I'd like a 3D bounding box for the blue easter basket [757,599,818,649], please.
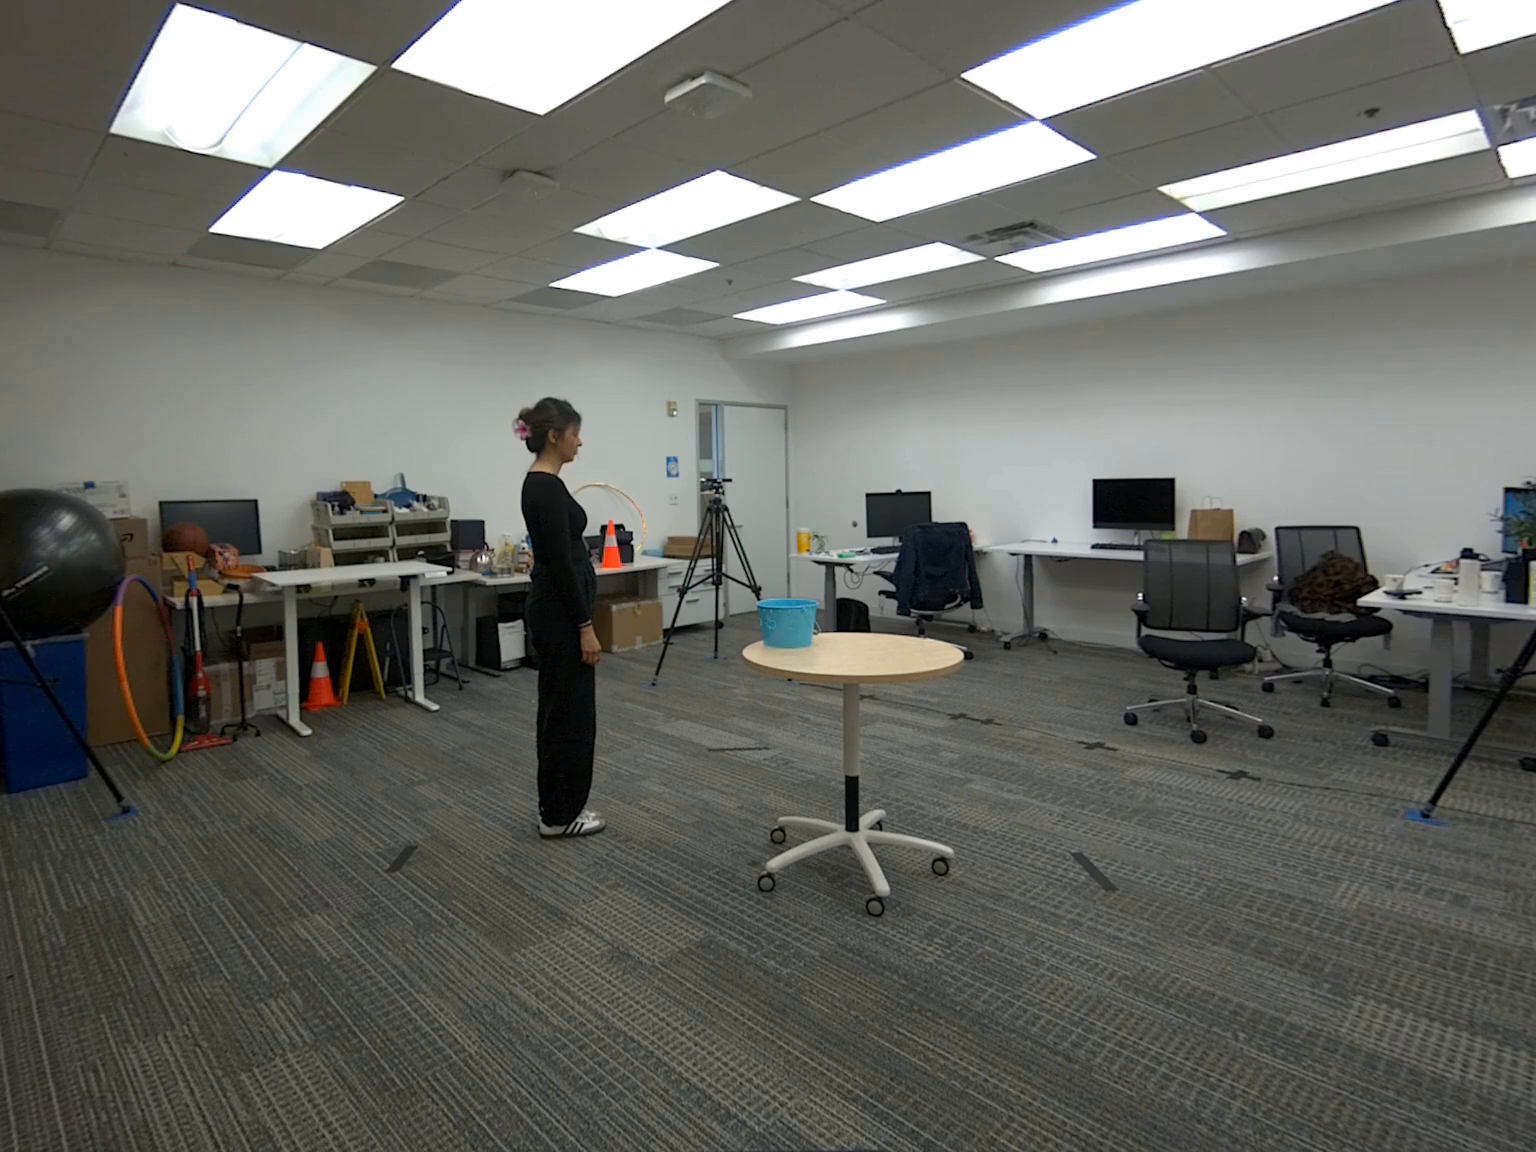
[{"bbox_3d":[0.074,0.180,3.169,0.243,0.155,0.245,-3,6,-1],"label":"blue easter basket"}]
